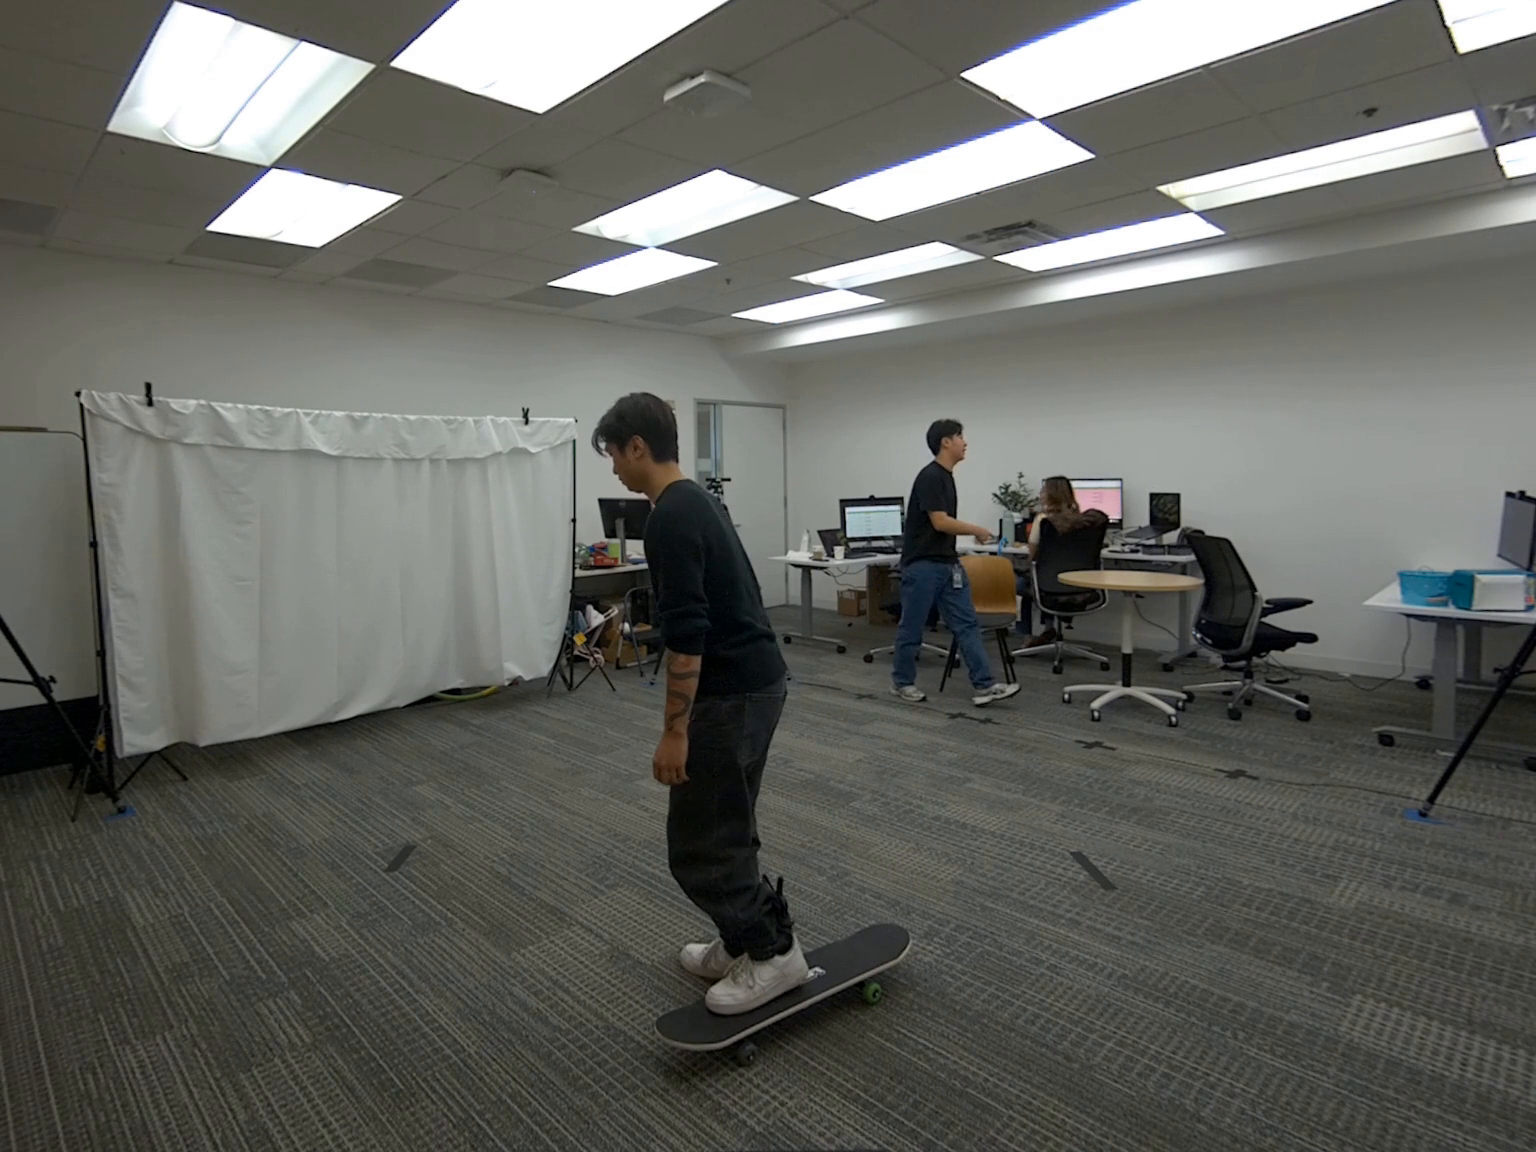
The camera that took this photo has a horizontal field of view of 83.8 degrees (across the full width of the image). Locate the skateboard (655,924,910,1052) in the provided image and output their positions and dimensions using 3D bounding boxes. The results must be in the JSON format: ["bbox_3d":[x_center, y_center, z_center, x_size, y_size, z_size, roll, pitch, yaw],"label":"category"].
[{"bbox_3d":[0.078,1.092,2.212,0.767,0.110,0.198,-7,4,-34],"label":"skateboard"}]
